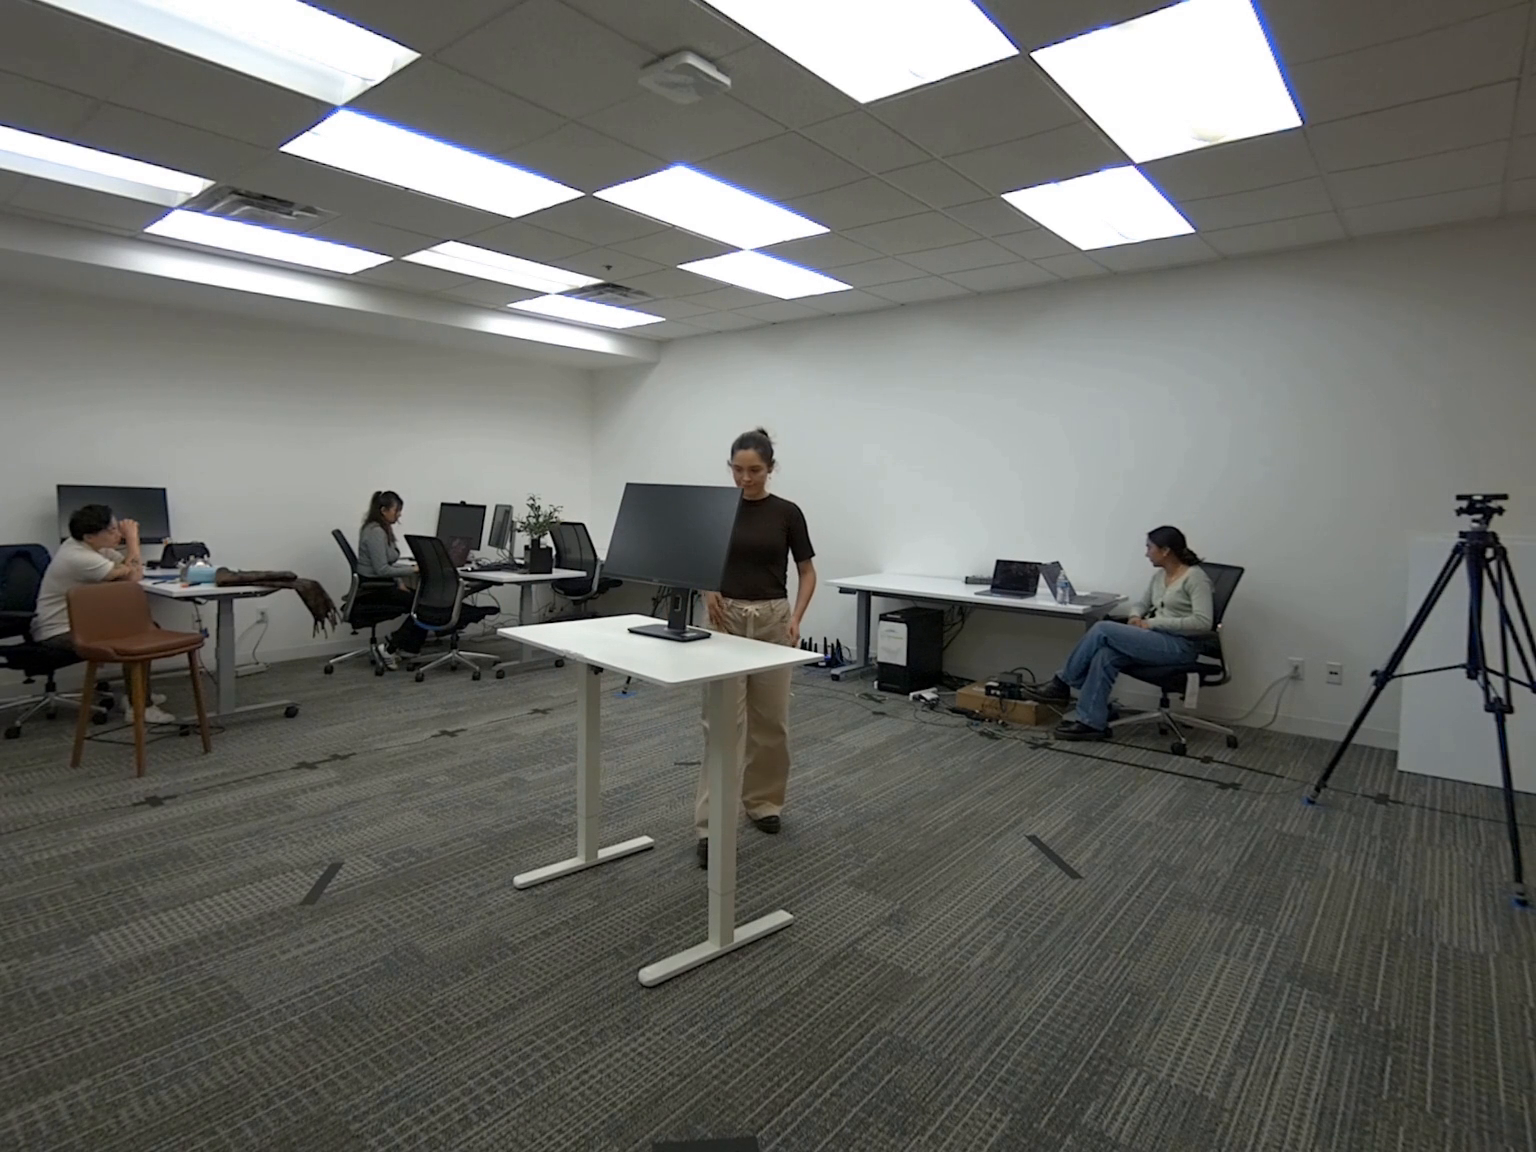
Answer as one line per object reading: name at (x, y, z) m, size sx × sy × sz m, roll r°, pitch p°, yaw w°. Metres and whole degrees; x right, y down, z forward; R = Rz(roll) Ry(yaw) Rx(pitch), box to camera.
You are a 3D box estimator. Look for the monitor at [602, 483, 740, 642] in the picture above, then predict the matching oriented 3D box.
monitor at (-0.333, -0.053, 2.918) m, size 0.556 × 0.522 × 0.181 m, roll 5°, pitch 2°, yaw 34°
